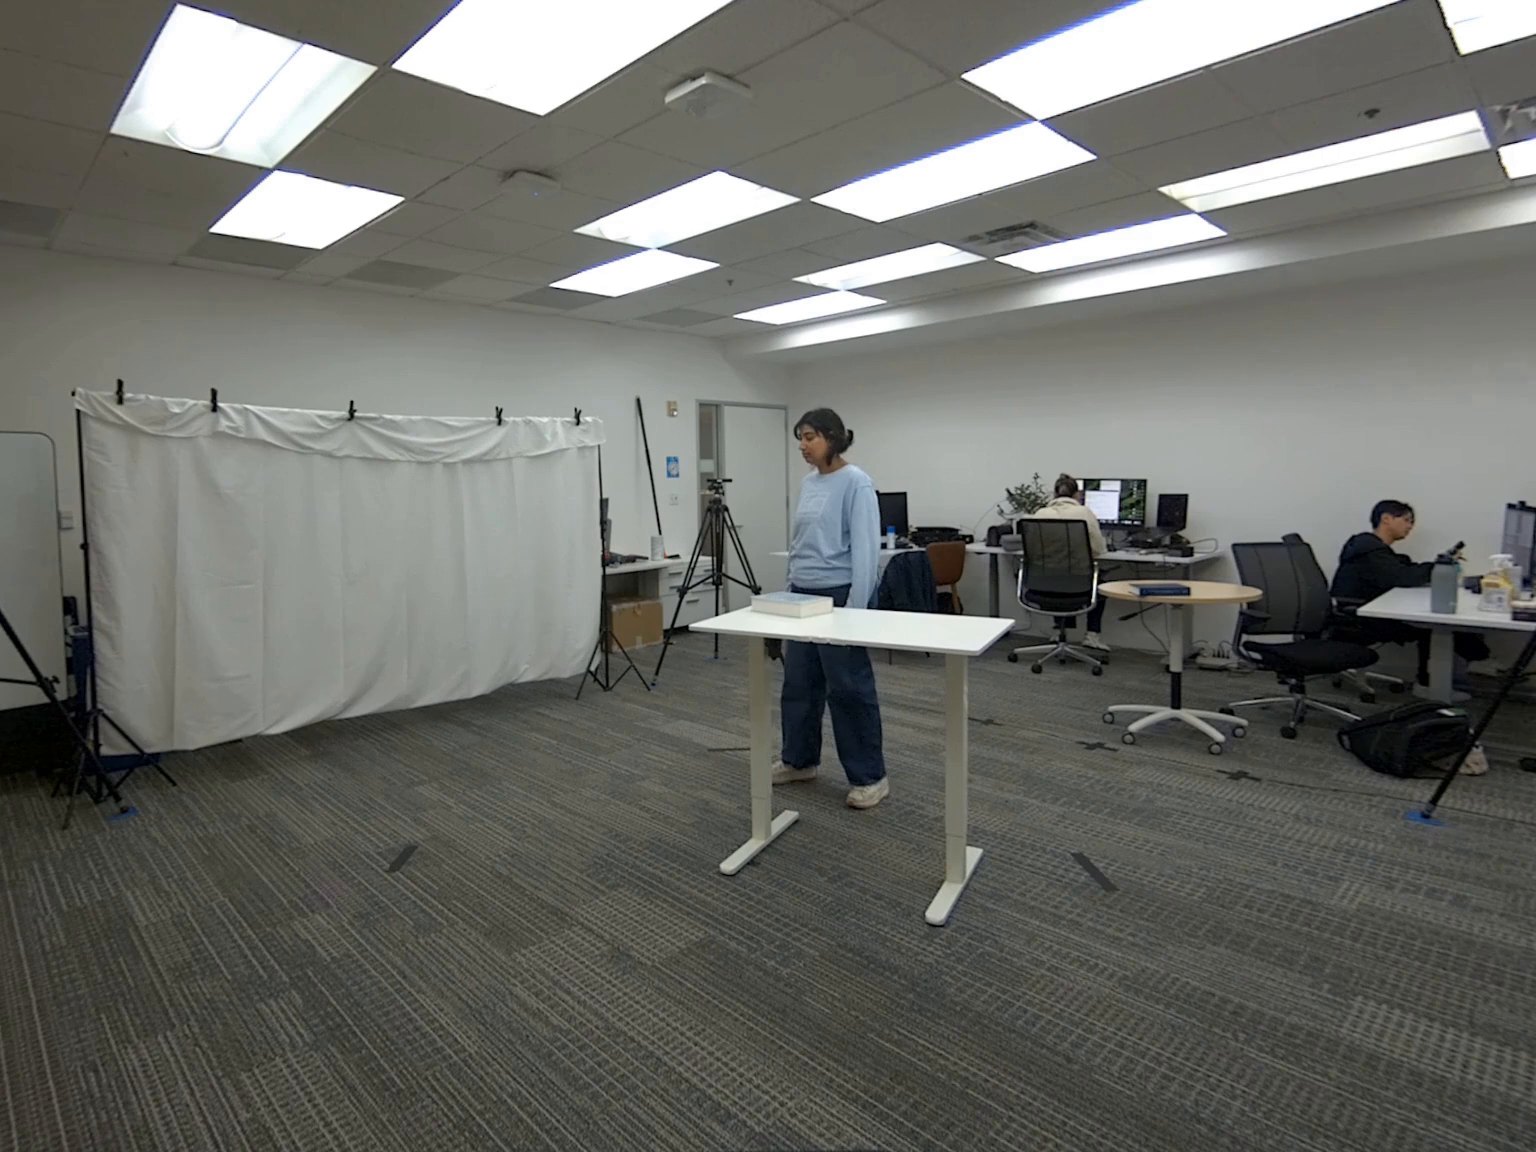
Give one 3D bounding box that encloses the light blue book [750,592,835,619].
[{"bbox_3d":[0.100,0.111,3.278,0.269,0.059,0.186,6,9,45],"label":"light blue book"}]
